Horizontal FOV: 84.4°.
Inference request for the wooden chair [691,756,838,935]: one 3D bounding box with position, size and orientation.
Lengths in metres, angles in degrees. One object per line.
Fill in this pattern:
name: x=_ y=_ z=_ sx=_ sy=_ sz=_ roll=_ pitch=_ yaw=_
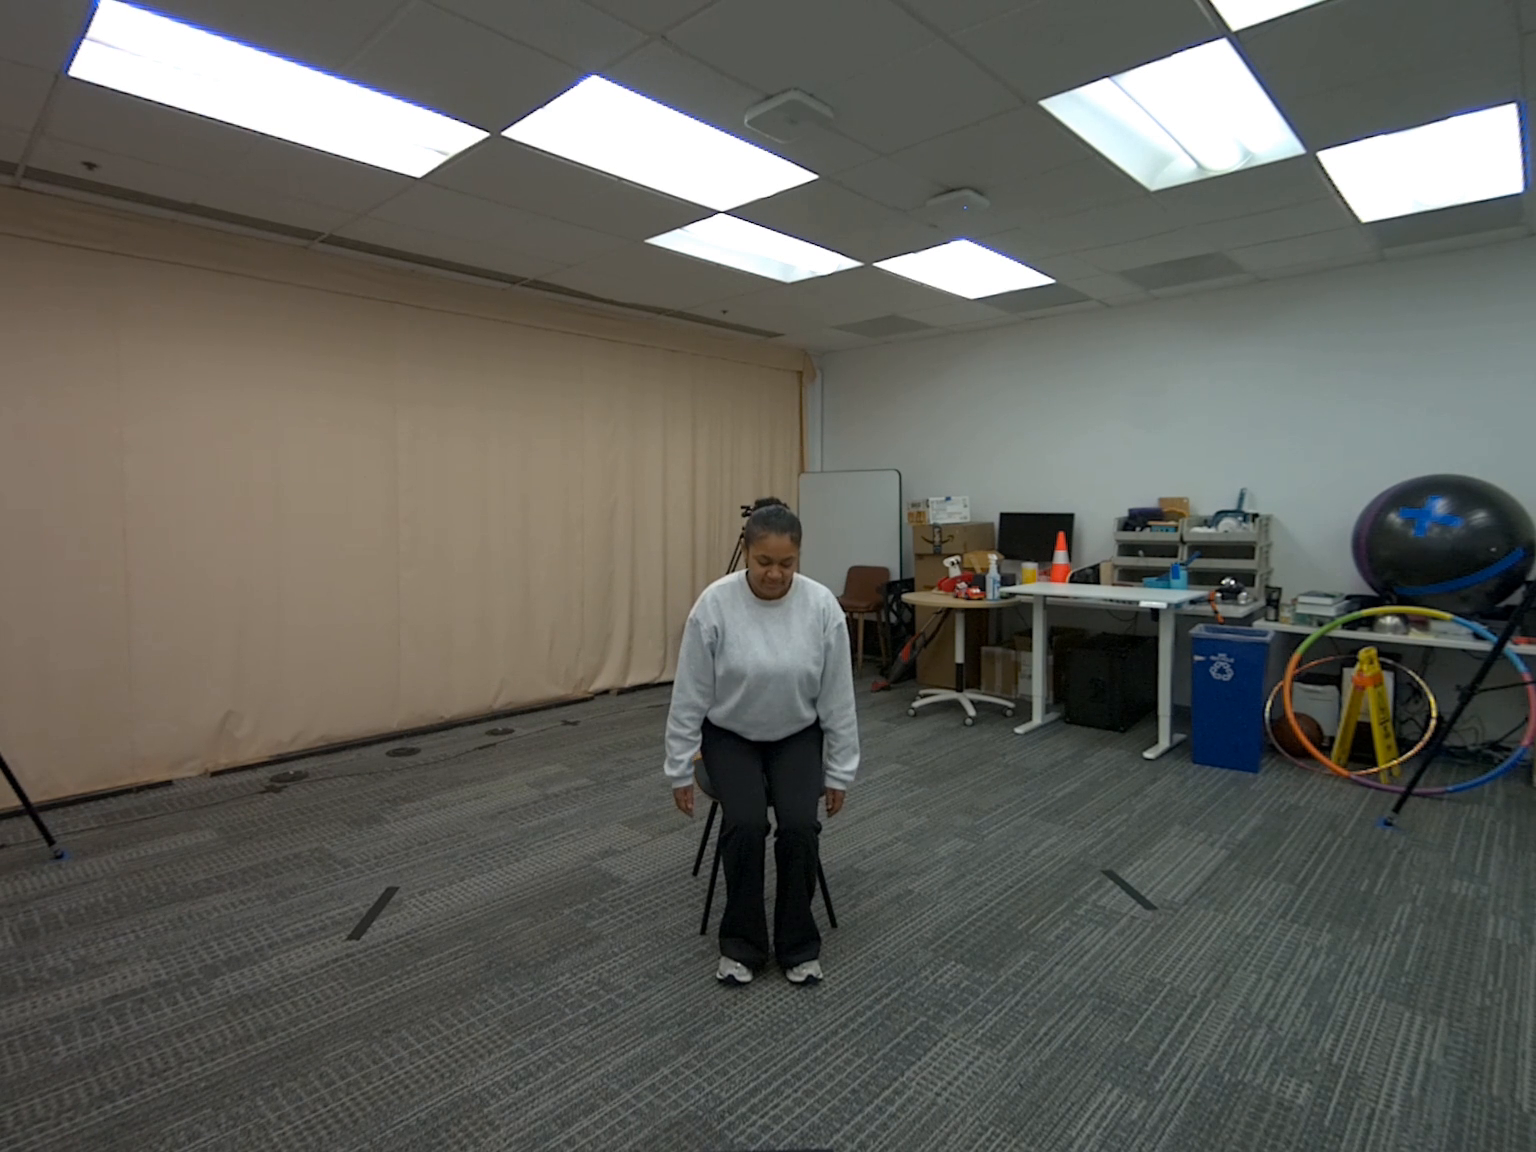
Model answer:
wooden chair: x=-0.027 y=0.717 z=2.937 sx=0.474 sy=0.878 sz=0.527 roll=0 pitch=0 yaw=-8
